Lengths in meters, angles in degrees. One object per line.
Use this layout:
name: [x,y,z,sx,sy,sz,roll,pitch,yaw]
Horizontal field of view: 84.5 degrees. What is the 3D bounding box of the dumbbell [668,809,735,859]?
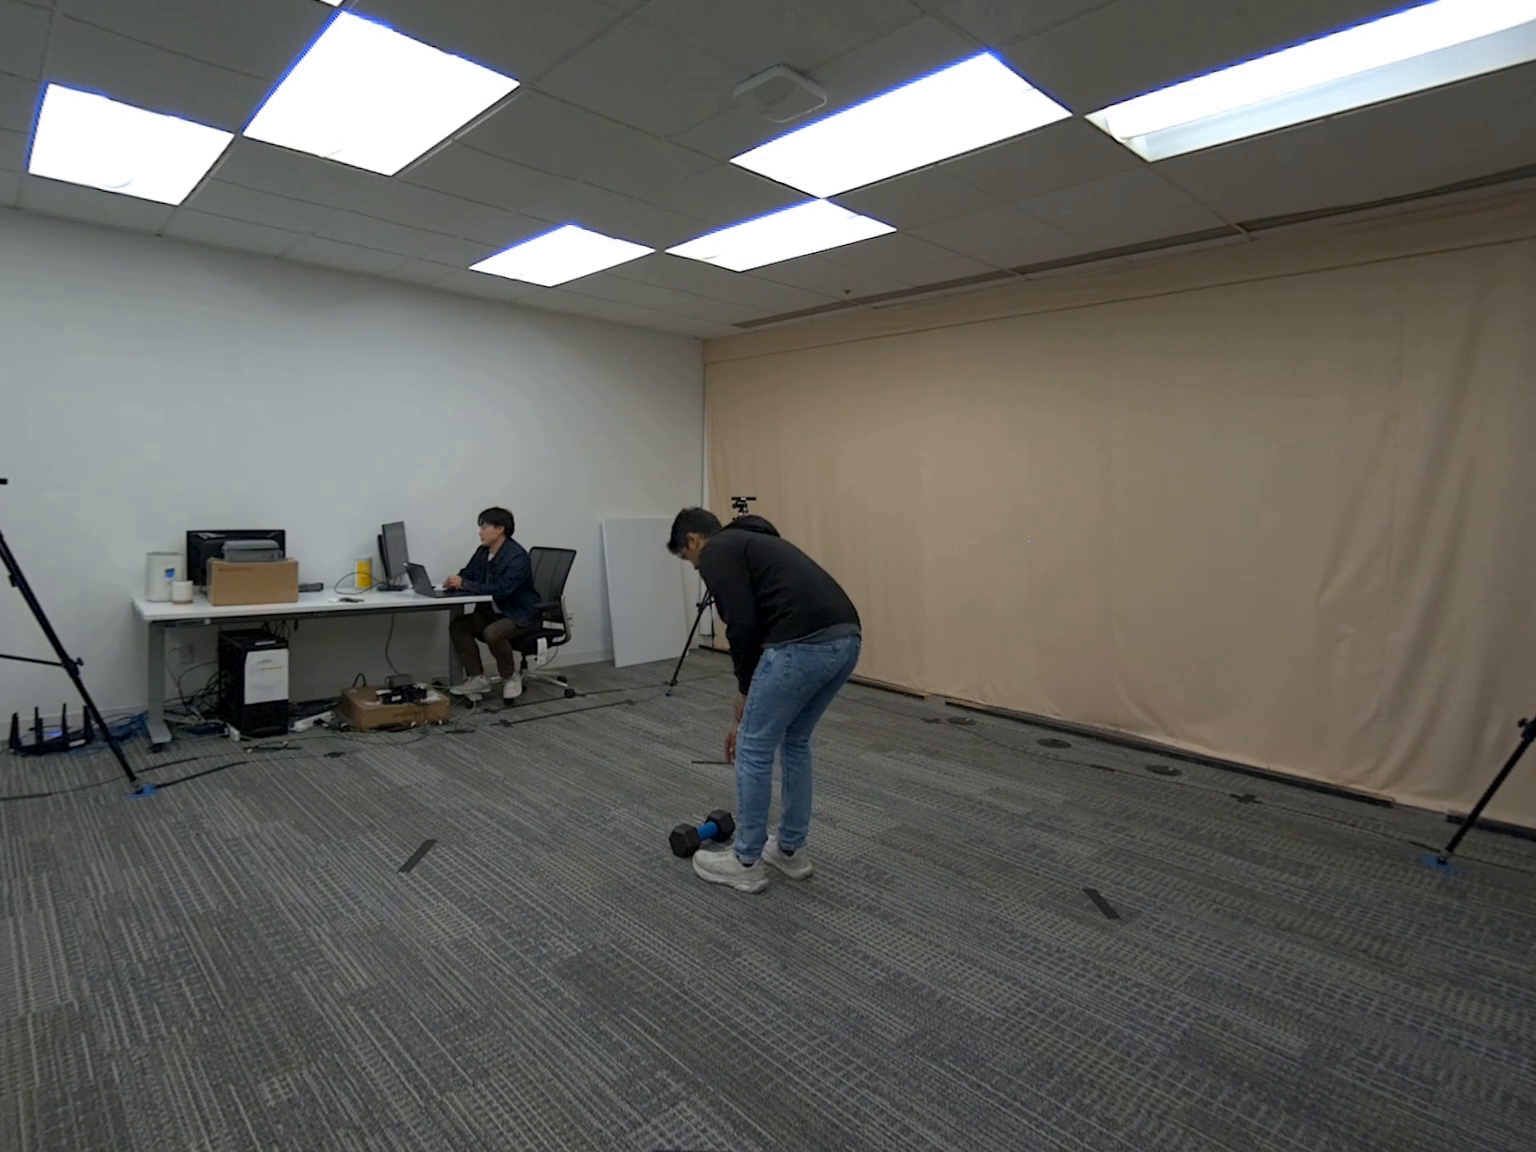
dumbbell: [-0.269,1.026,3.359,0.112,0.122,0.287,40,26,29]
